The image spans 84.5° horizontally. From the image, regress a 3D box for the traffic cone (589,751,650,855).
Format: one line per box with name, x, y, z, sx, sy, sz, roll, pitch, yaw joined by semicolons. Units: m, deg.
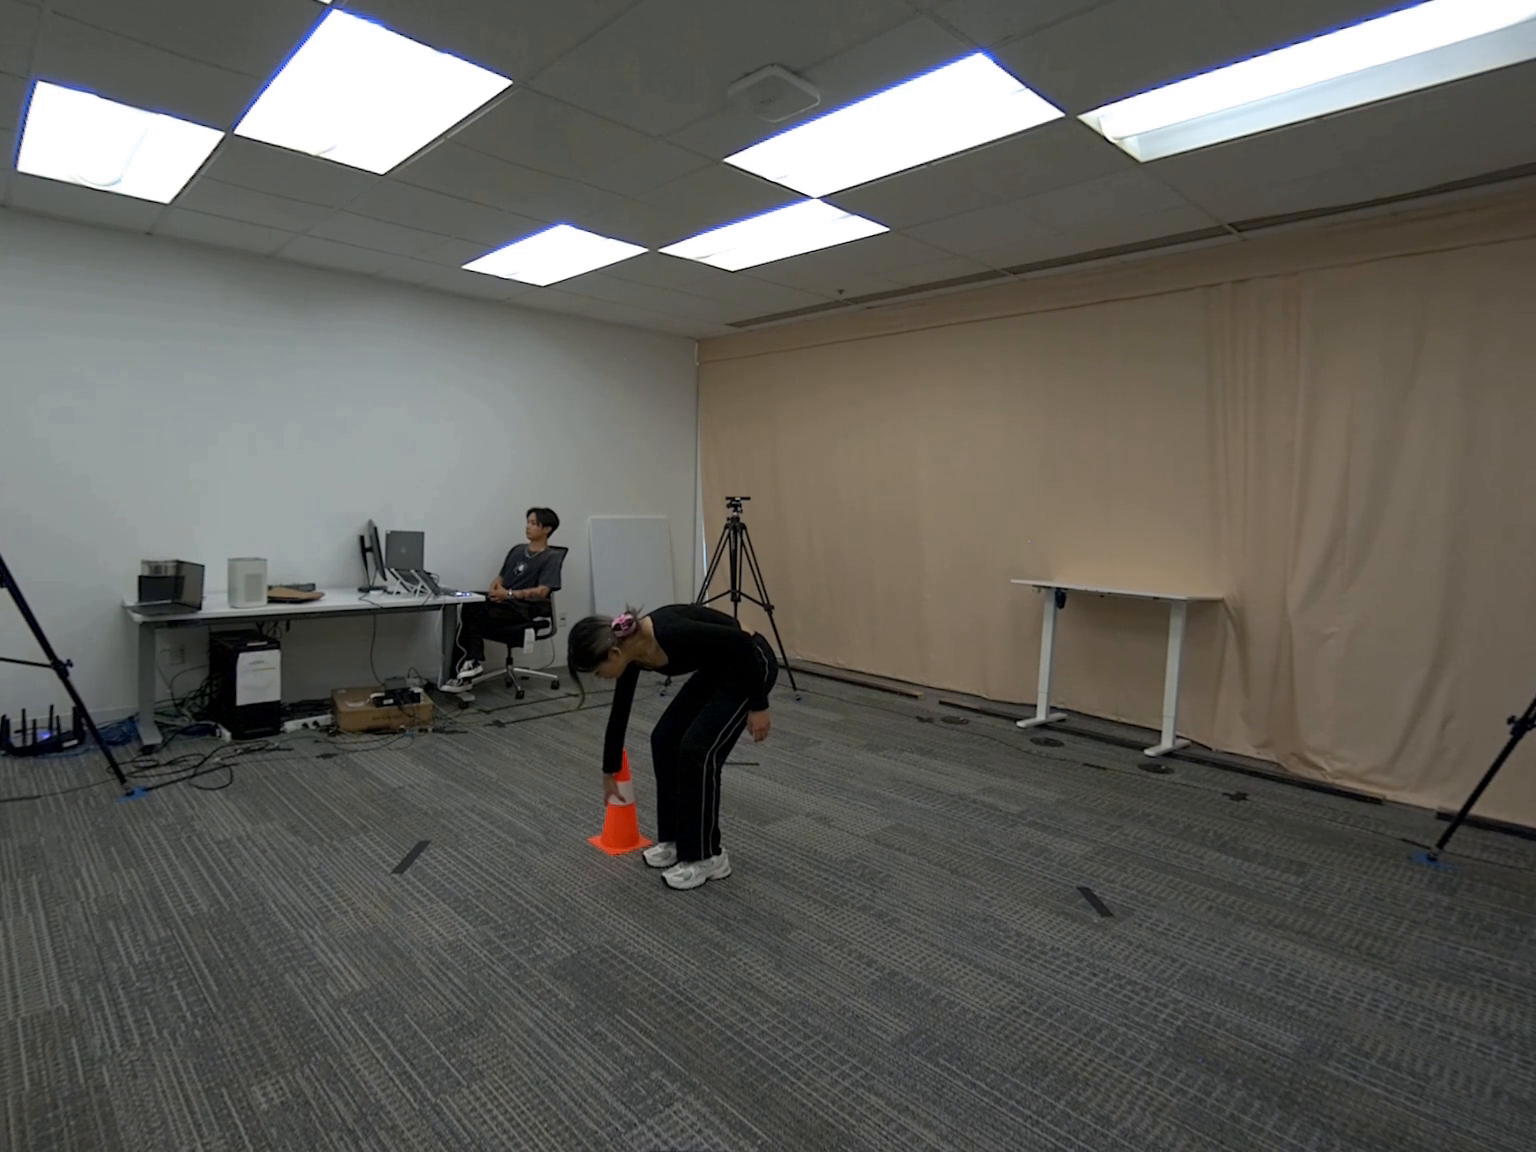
traffic cone;-0.601;0.885;3.384;0.200;0.383;0.208;0;2;-35
